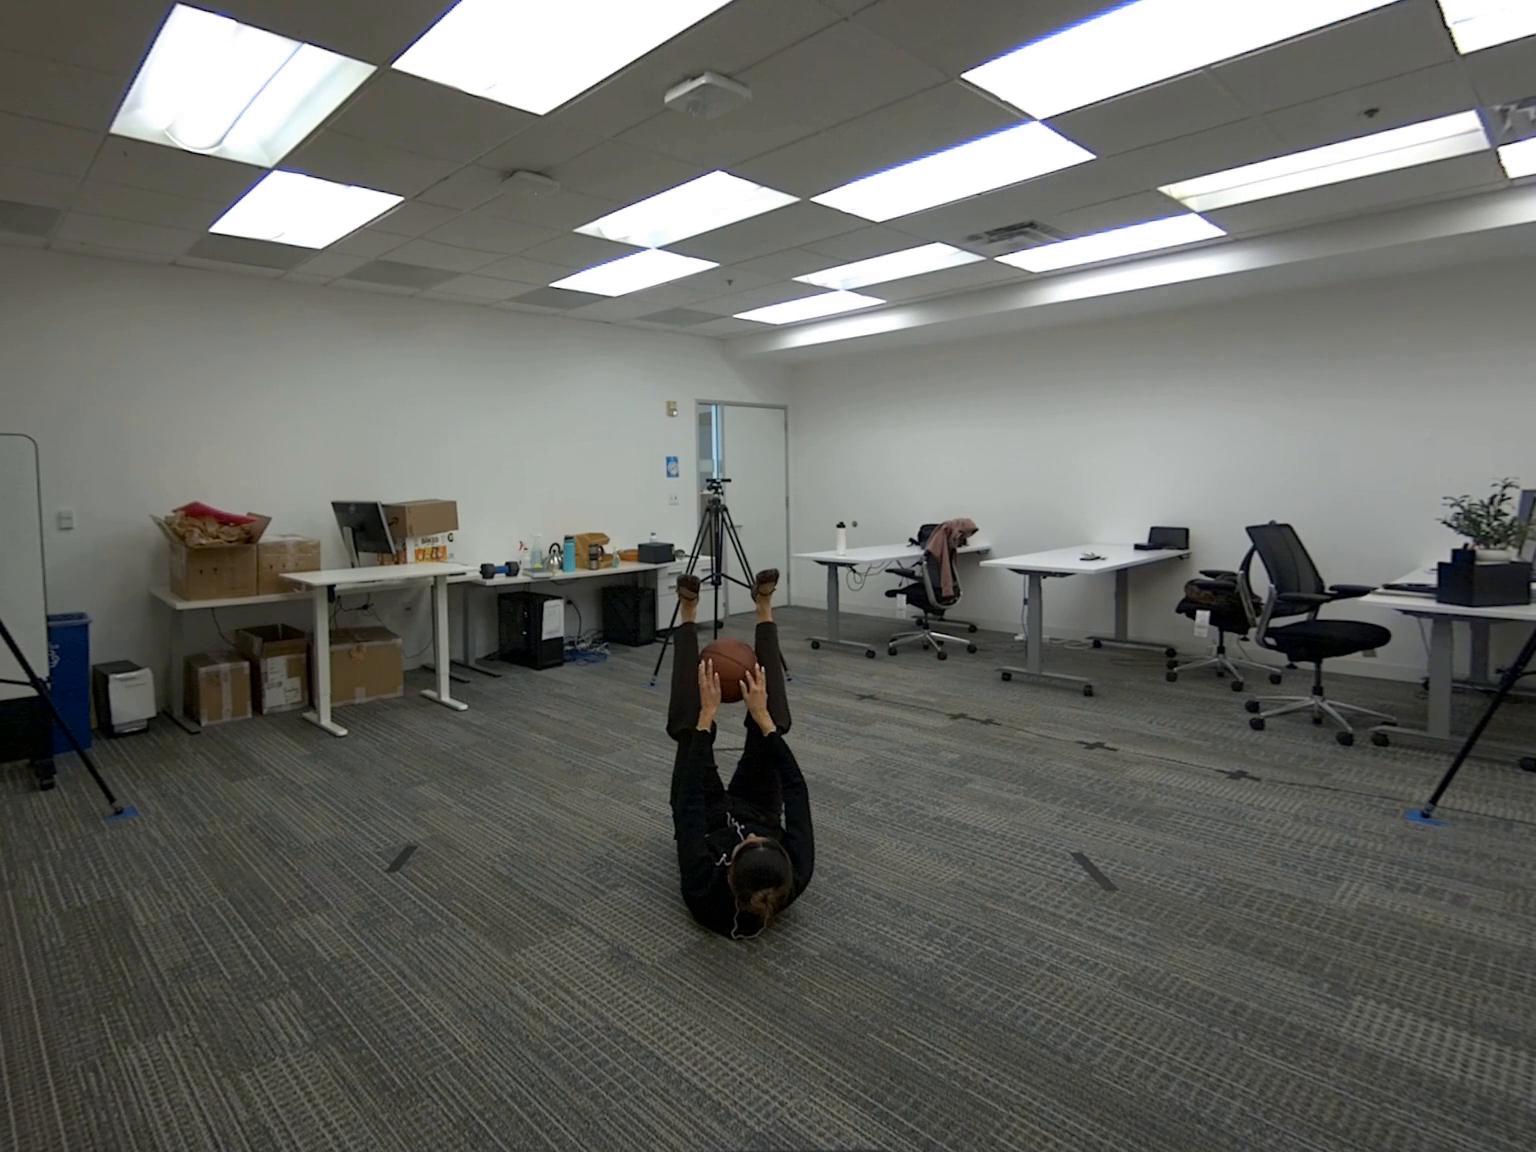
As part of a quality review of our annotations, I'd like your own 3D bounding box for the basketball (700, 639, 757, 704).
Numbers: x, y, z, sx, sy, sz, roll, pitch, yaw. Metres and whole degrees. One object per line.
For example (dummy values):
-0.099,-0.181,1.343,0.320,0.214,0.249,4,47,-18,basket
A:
-0.150,0.338,3.099,0.236,0.235,0.237,-1,5,-2,basketball
